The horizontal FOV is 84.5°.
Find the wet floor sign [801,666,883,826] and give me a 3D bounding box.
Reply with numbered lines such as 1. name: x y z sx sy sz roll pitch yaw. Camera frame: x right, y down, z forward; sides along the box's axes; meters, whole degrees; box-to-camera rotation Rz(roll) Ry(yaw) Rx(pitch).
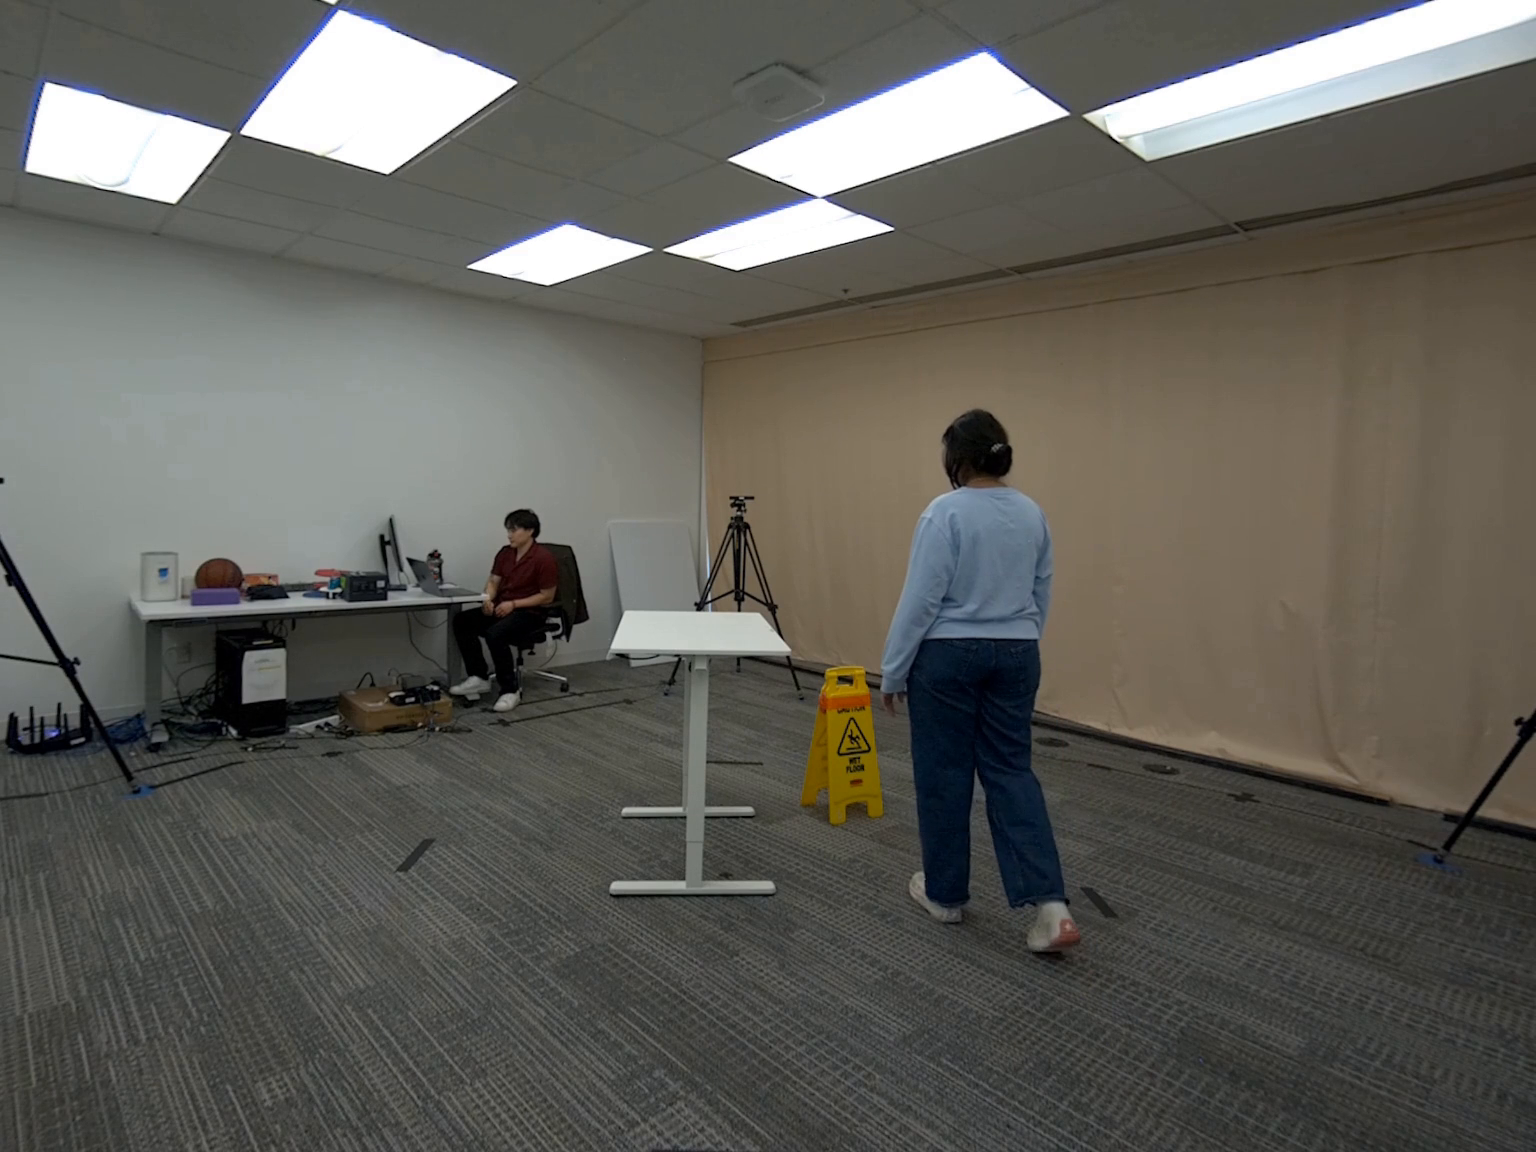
1. wet floor sign: 0.330 0.734 3.781 0.277 0.645 0.296 1 3 -28
